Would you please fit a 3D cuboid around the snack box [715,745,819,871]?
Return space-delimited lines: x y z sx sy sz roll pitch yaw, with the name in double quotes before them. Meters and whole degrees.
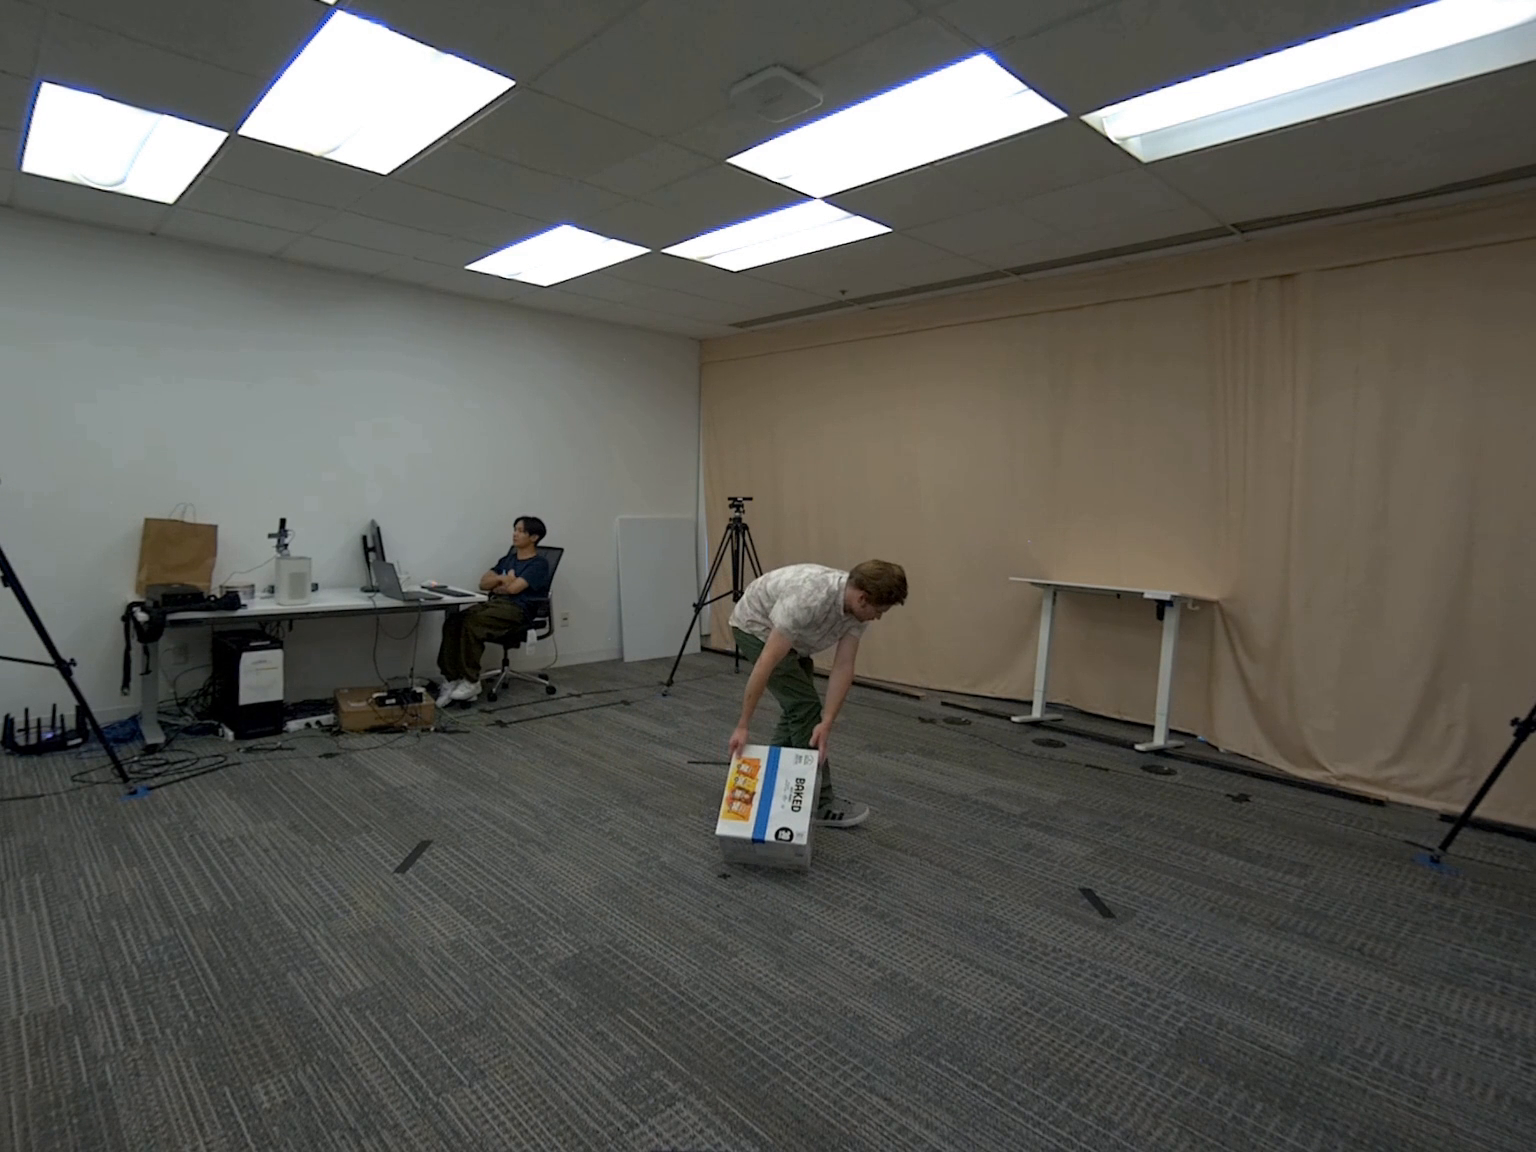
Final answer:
"snack box" 0.007 0.894 3.268 0.344 0.200 0.411 1 43 13
